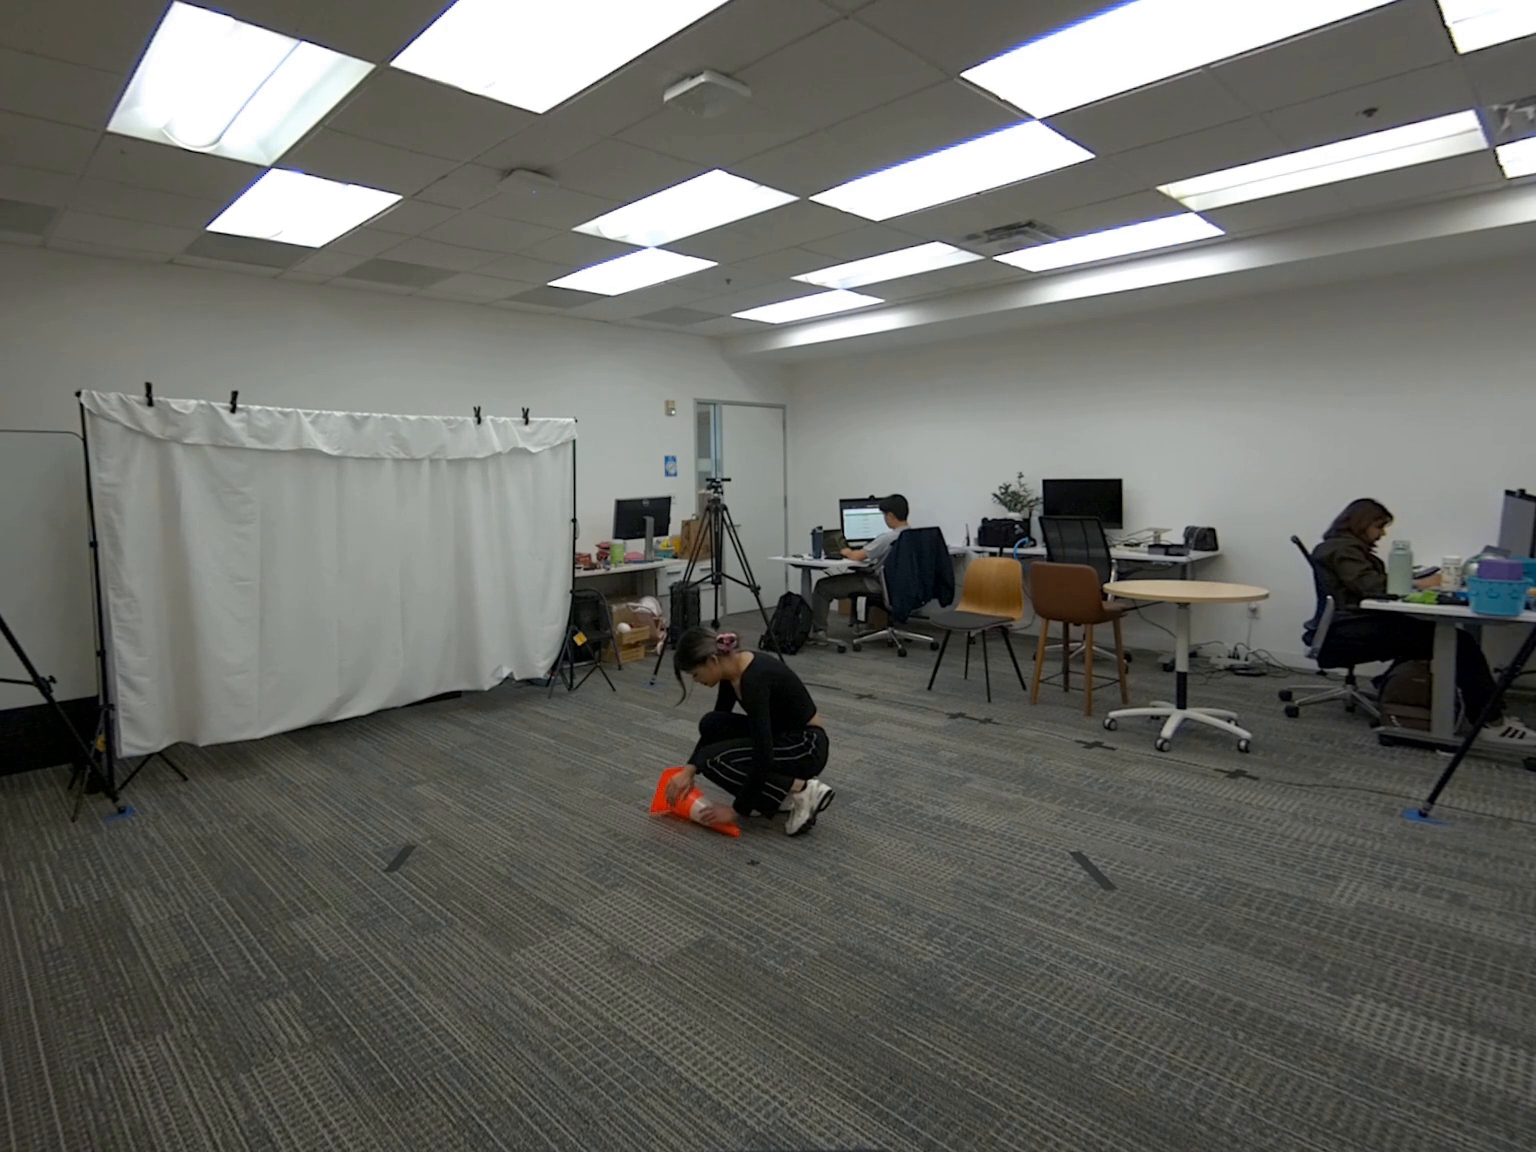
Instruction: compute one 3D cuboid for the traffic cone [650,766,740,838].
[{"bbox_3d":[-0.258,0.952,3.467,0.398,0.203,0.198,24,7,38],"label":"traffic cone"}]
